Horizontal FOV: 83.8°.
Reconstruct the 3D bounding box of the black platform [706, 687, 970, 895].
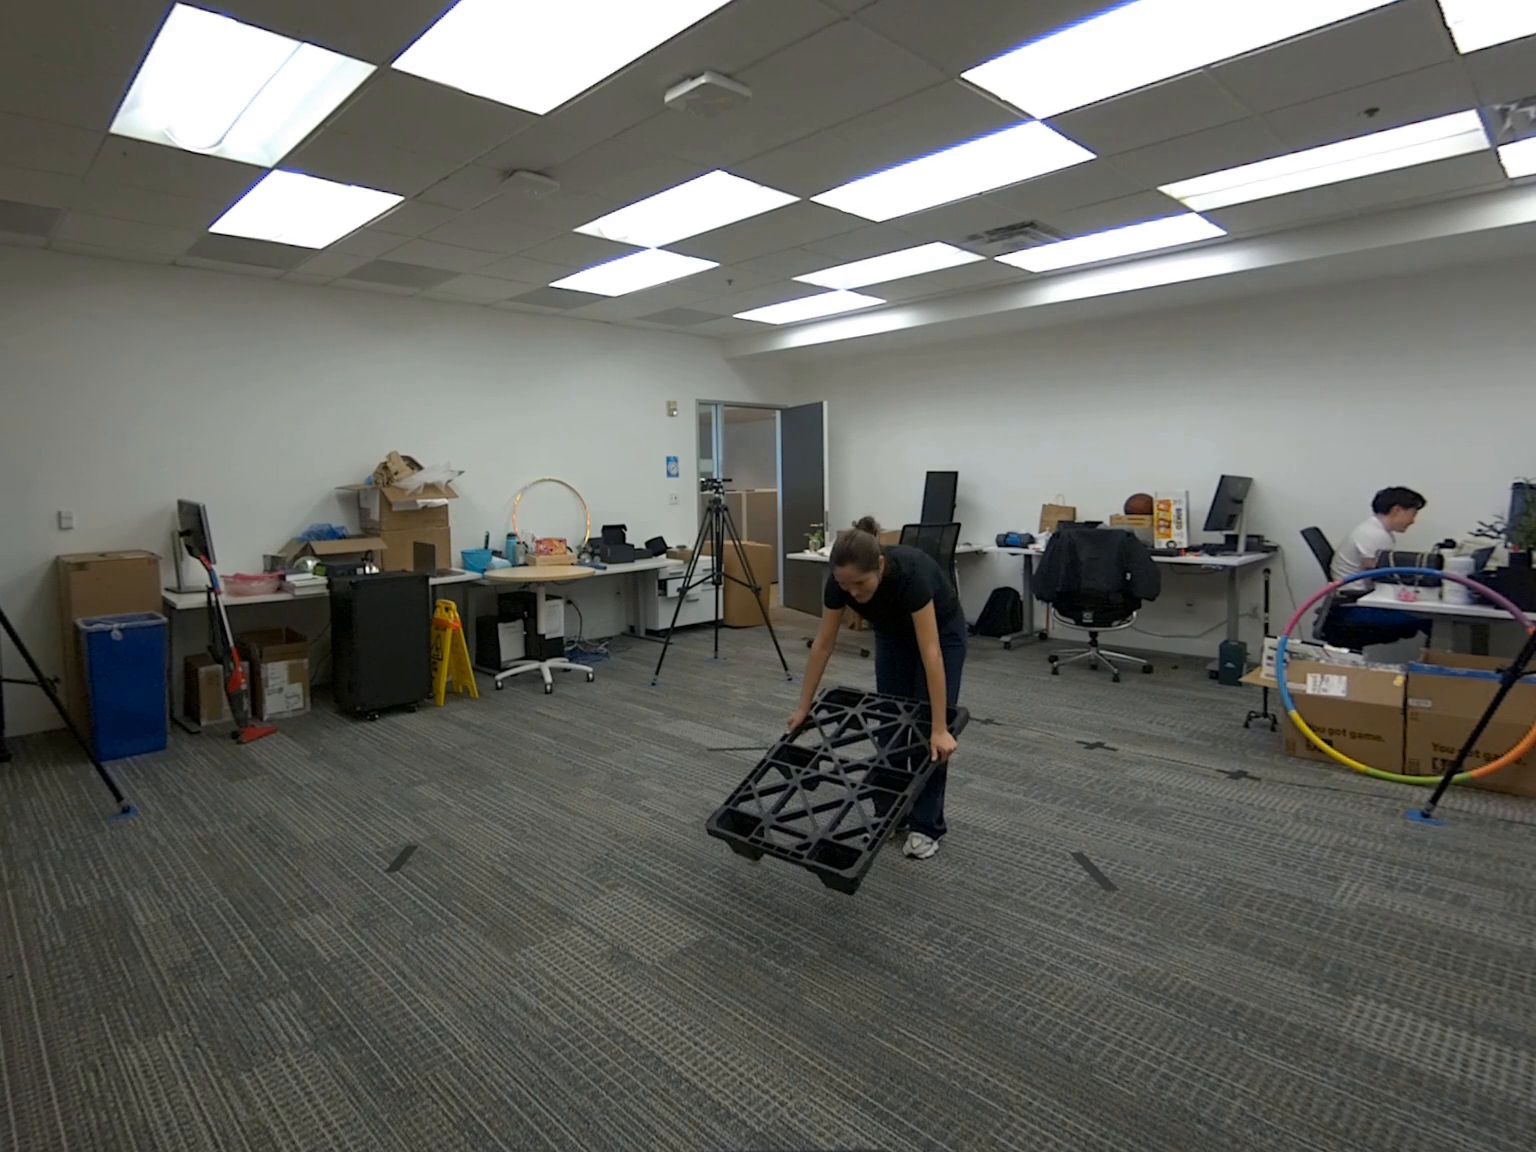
[{"bbox_3d":[0.262,0.697,2.917,0.623,0.140,0.802,3,33,40],"label":"black platform"}]
